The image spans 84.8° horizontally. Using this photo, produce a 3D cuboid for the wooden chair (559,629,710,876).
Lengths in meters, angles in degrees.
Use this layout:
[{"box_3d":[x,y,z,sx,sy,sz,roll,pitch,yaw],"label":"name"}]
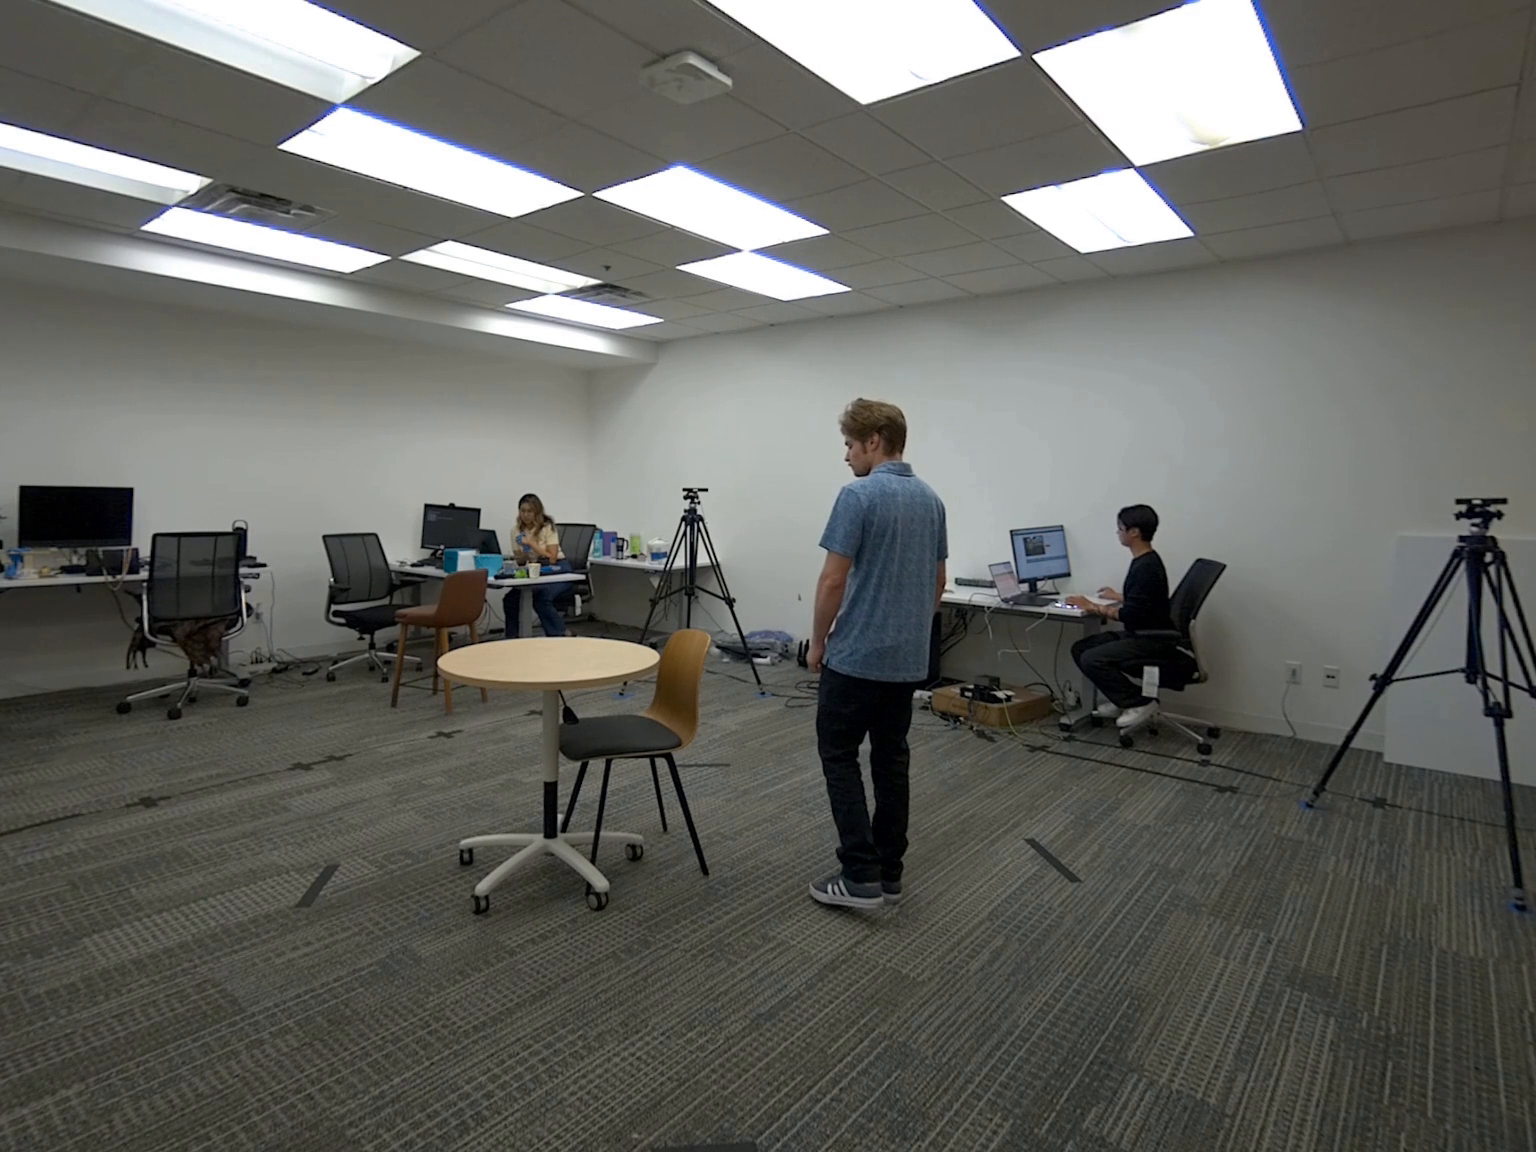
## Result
[{"box_3d":[-0.523,0.632,3.148,0.510,0.876,0.491,4,2,-26],"label":"wooden chair"}]
